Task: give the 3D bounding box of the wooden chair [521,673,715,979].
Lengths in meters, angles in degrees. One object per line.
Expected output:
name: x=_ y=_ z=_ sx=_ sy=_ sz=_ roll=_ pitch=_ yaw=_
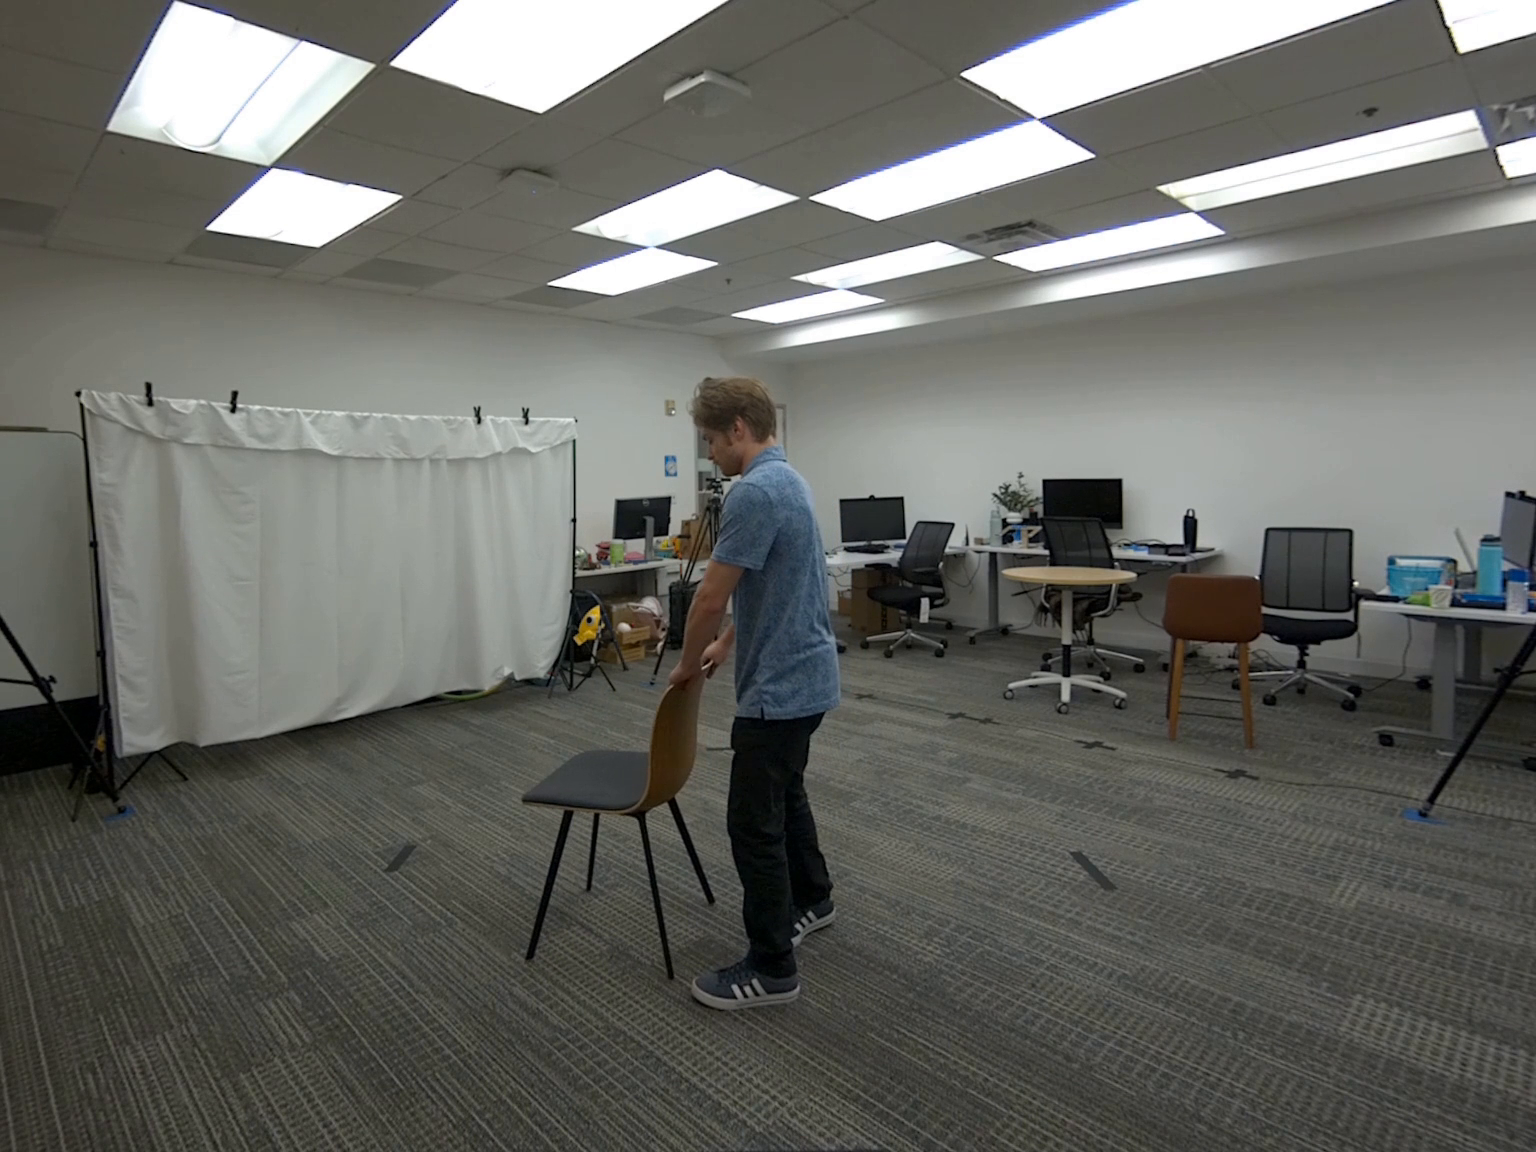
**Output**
wooden chair: x=-0.456 y=0.677 z=2.628 sx=0.531 sy=0.873 sz=0.473 roll=4 pitch=6 yaw=14
